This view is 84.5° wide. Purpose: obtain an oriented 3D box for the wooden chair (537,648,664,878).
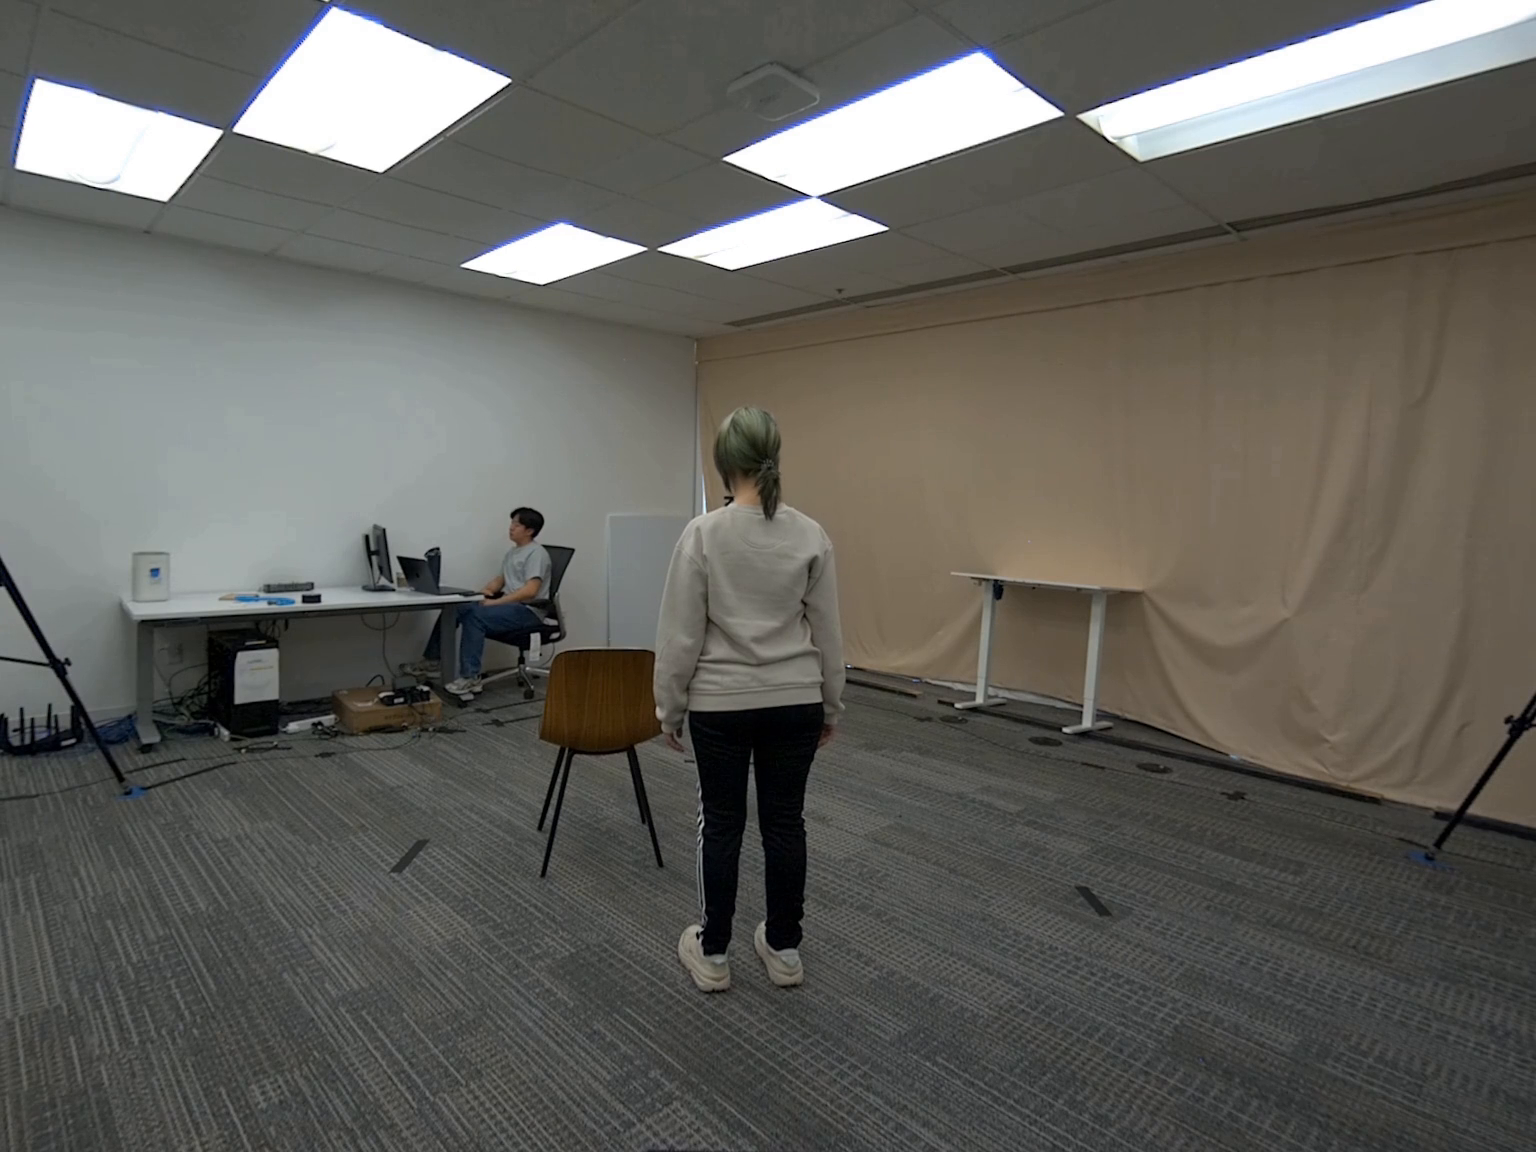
[{"bbox_3d":[-0.663,0.650,3.293,0.472,0.873,0.532,0,8,-16],"label":"wooden chair"}]
